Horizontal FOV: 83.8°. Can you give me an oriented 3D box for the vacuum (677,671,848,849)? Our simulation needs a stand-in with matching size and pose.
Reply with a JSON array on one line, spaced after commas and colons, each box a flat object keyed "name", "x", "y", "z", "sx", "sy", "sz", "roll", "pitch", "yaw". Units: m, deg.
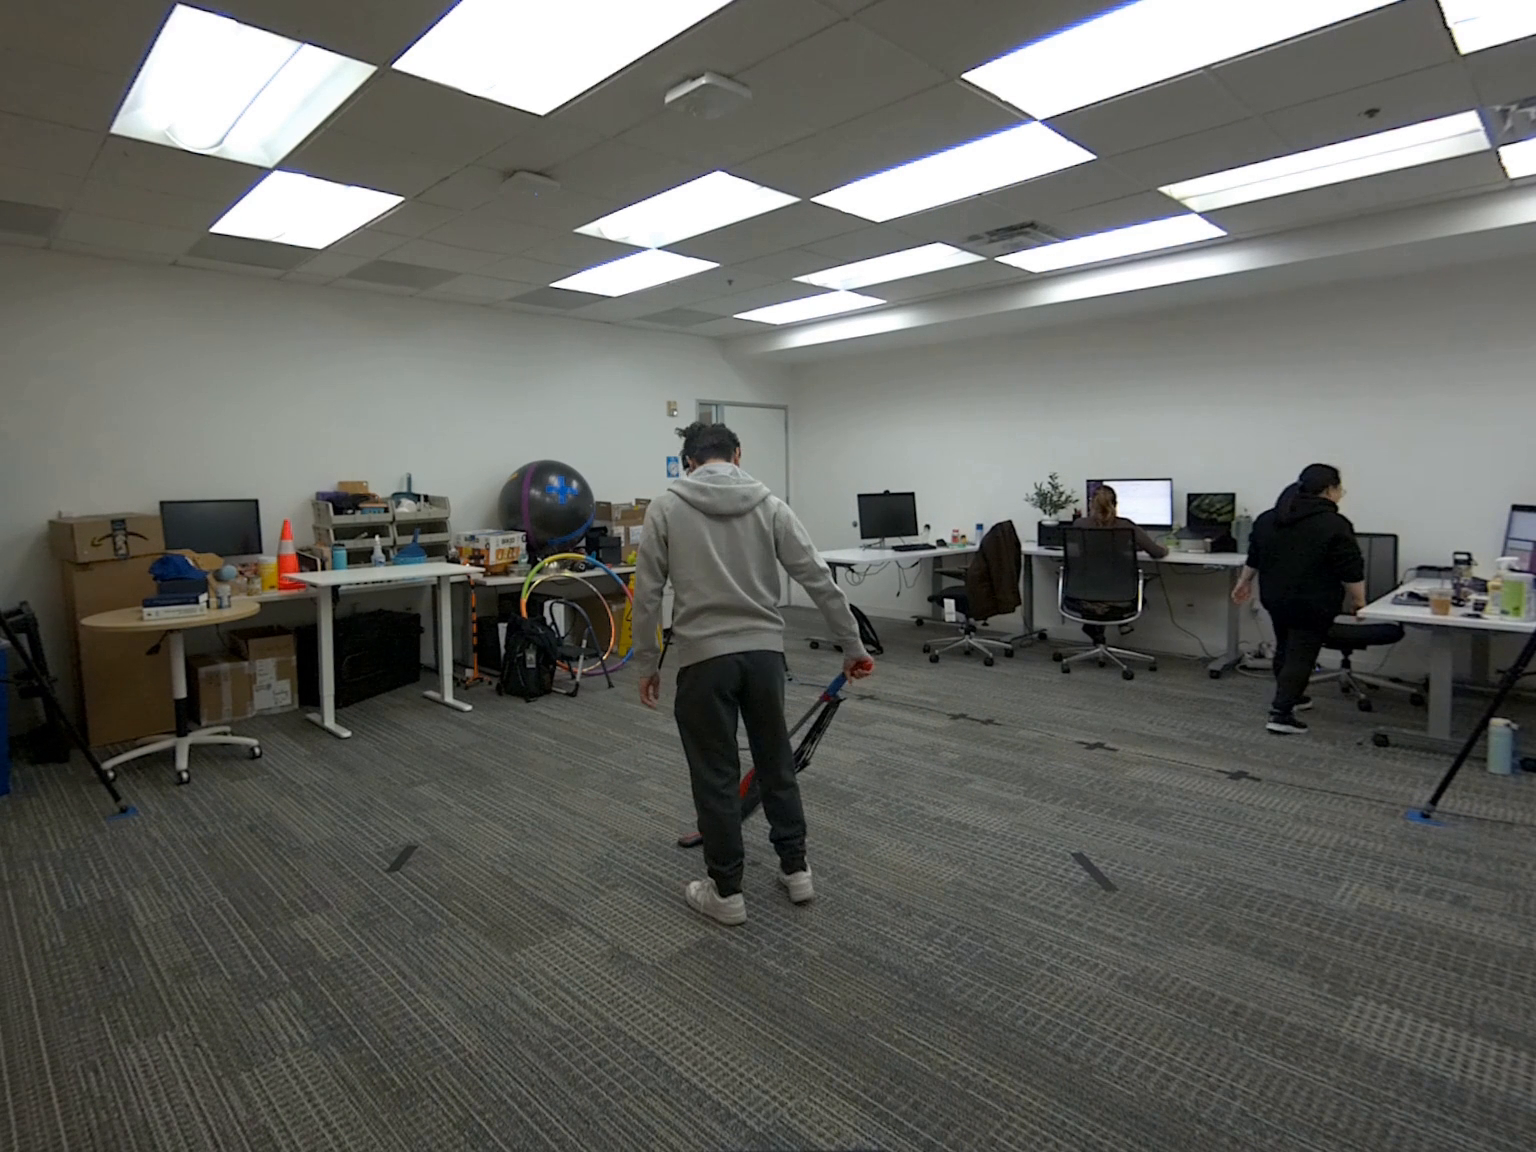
[{"name": "vacuum", "x": 0.043, "y": 0.664, "z": 3.062, "sx": 0.247, "sy": 0.148, "sz": 1.045, "roll": -14, "pitch": -31, "yaw": -53}]
